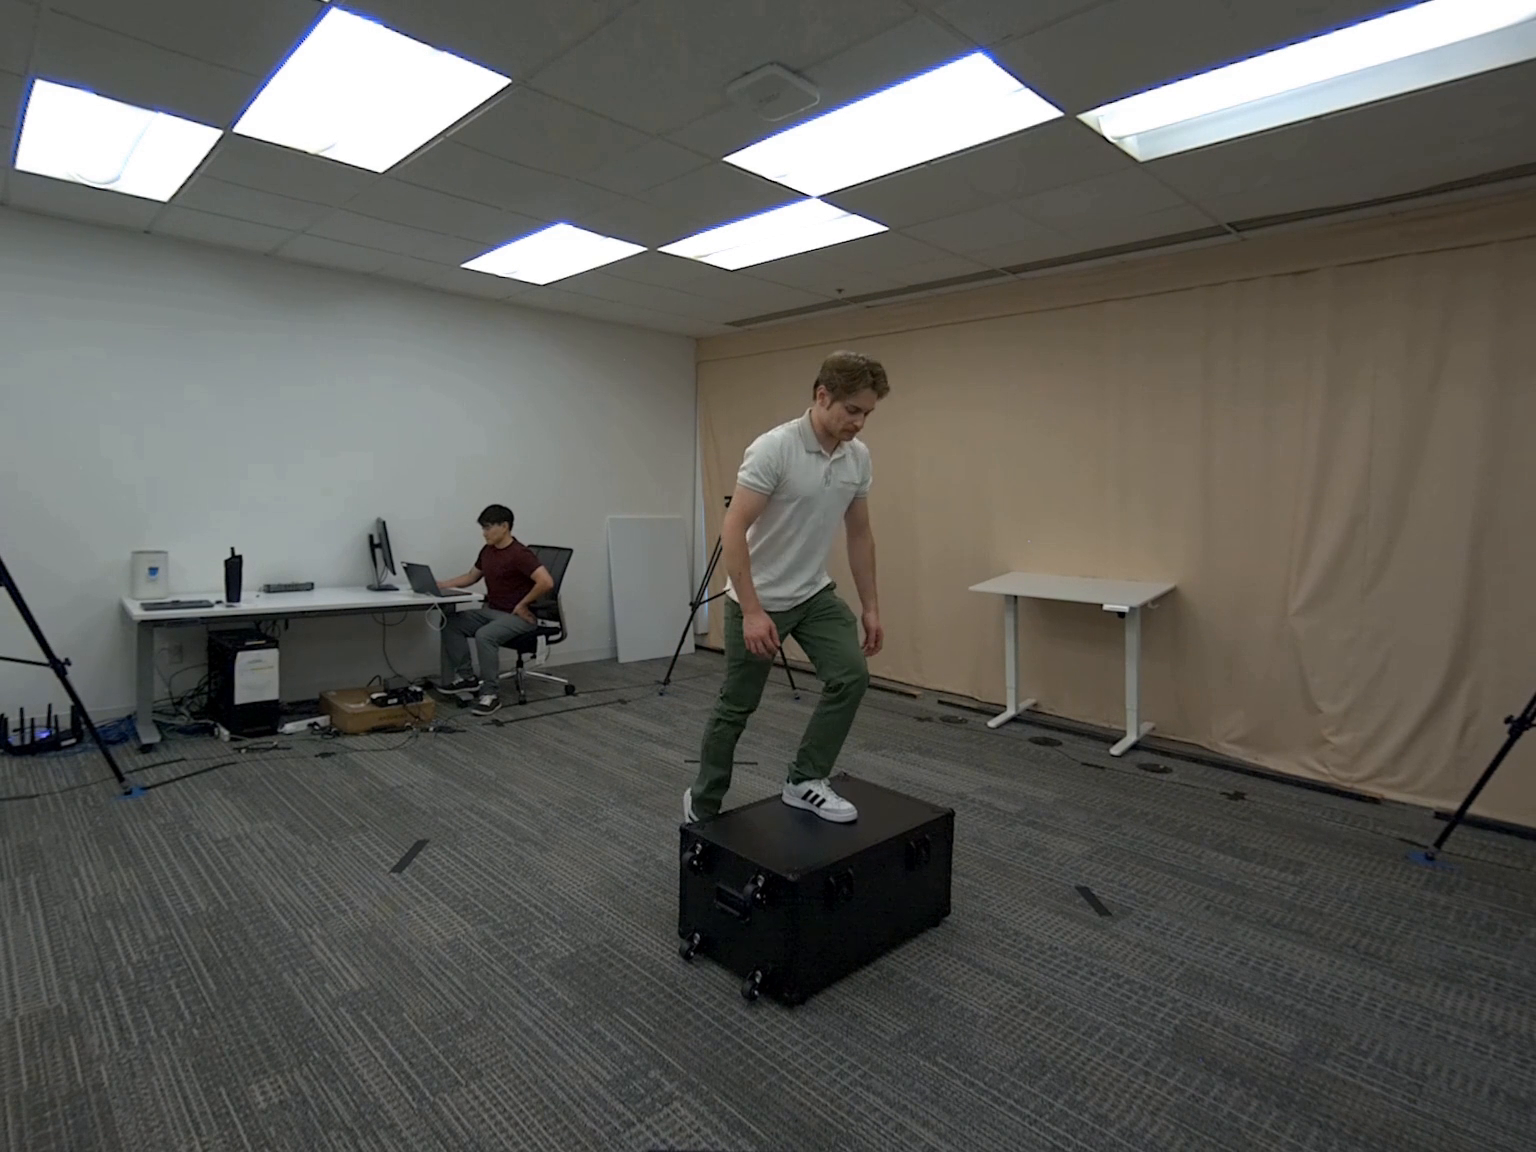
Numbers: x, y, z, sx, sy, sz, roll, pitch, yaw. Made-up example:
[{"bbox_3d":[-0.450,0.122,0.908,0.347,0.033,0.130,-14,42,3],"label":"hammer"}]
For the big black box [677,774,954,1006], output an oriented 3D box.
[{"bbox_3d":[0.134,0.959,2.679,0.849,0.384,0.537,-4,8,-44],"label":"big black box"}]
